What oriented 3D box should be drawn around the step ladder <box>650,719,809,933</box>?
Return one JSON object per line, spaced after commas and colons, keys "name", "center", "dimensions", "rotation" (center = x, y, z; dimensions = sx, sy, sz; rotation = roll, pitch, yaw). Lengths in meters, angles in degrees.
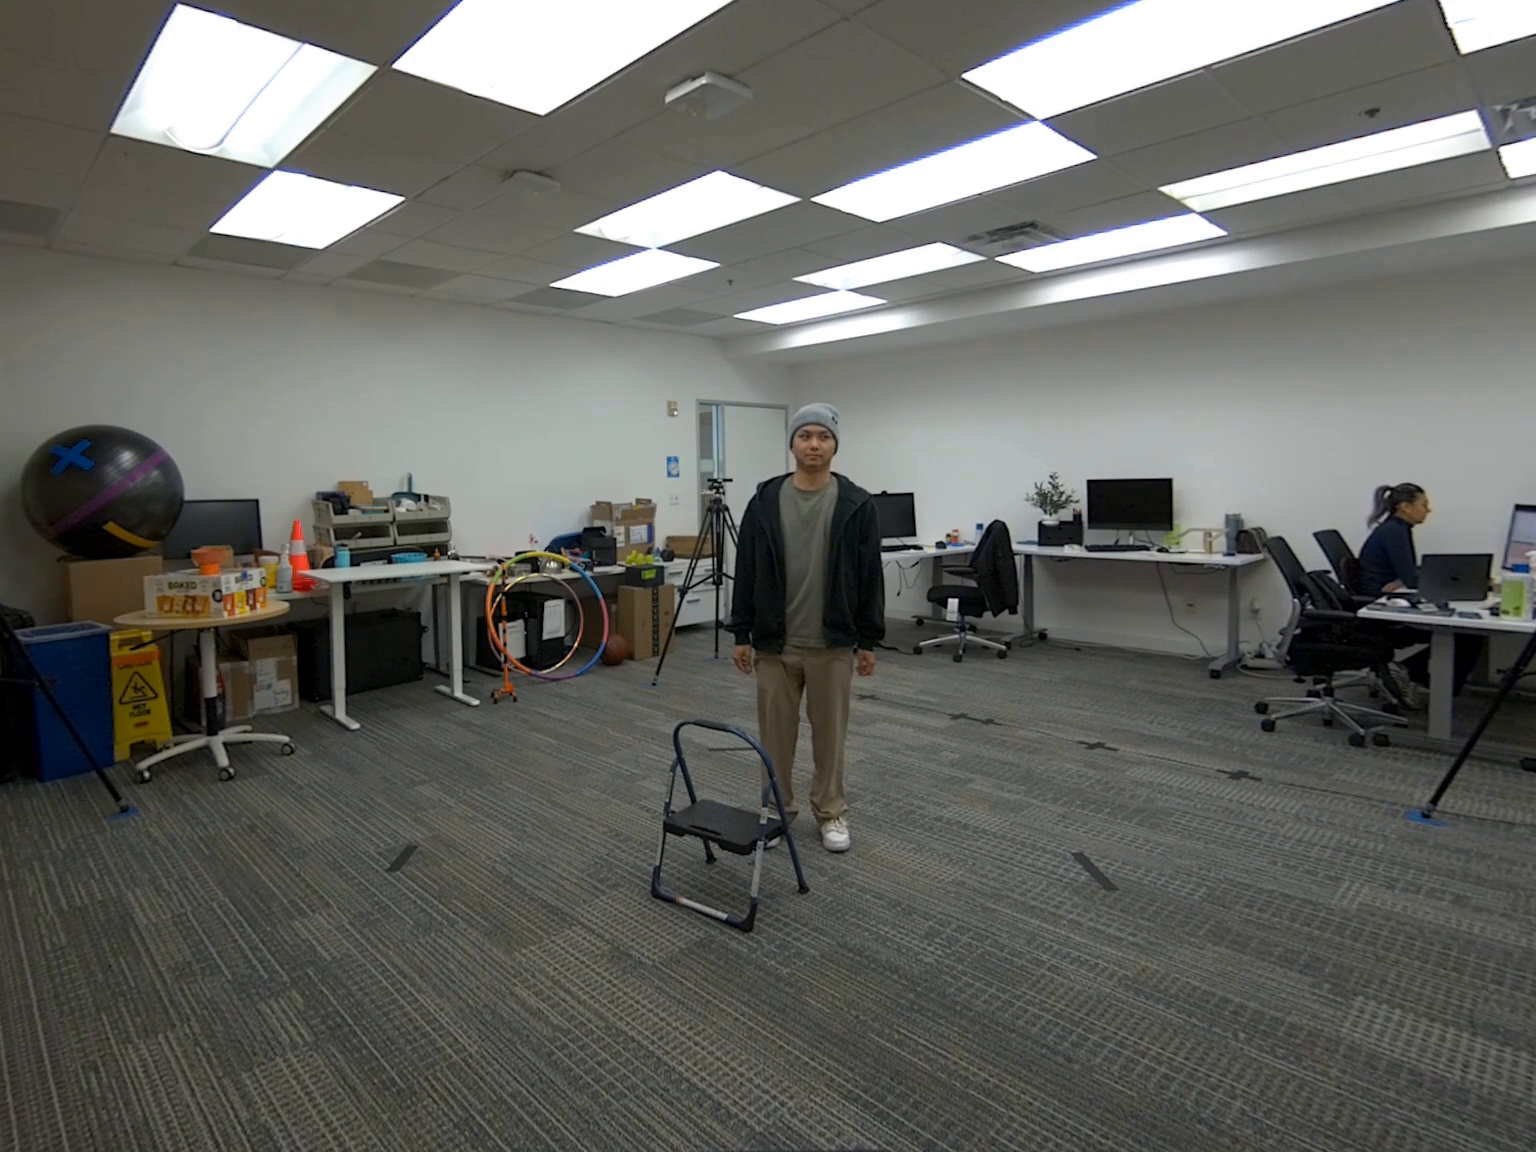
{"name": "step ladder", "center": [-0.135, 0.771, 2.866], "dimensions": [0.443, 0.604, 0.341], "rotation": [2, 5, 36]}
